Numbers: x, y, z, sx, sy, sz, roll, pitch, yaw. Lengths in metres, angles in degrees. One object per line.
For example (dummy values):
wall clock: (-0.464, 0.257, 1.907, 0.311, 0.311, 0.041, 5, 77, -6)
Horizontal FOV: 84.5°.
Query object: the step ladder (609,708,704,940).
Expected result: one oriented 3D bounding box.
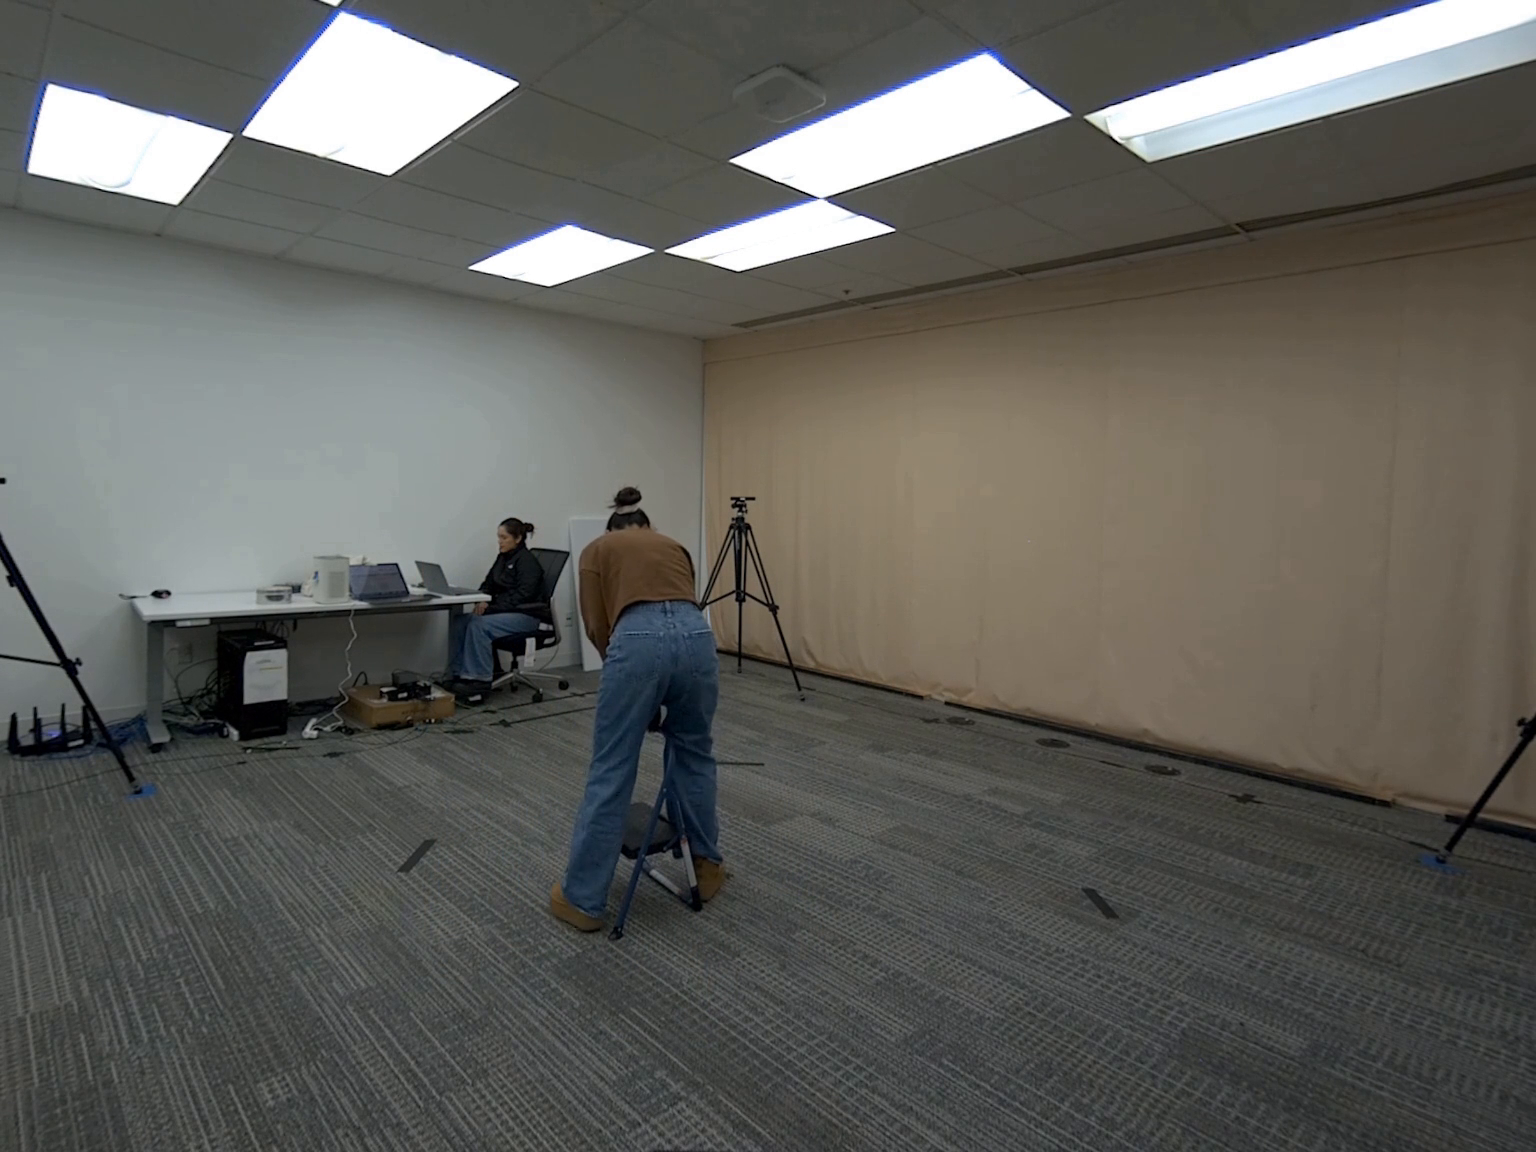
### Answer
step ladder: (-0.478, 0.821, 2.890, 0.341, 0.604, 0.441, -1, 4, -37)
